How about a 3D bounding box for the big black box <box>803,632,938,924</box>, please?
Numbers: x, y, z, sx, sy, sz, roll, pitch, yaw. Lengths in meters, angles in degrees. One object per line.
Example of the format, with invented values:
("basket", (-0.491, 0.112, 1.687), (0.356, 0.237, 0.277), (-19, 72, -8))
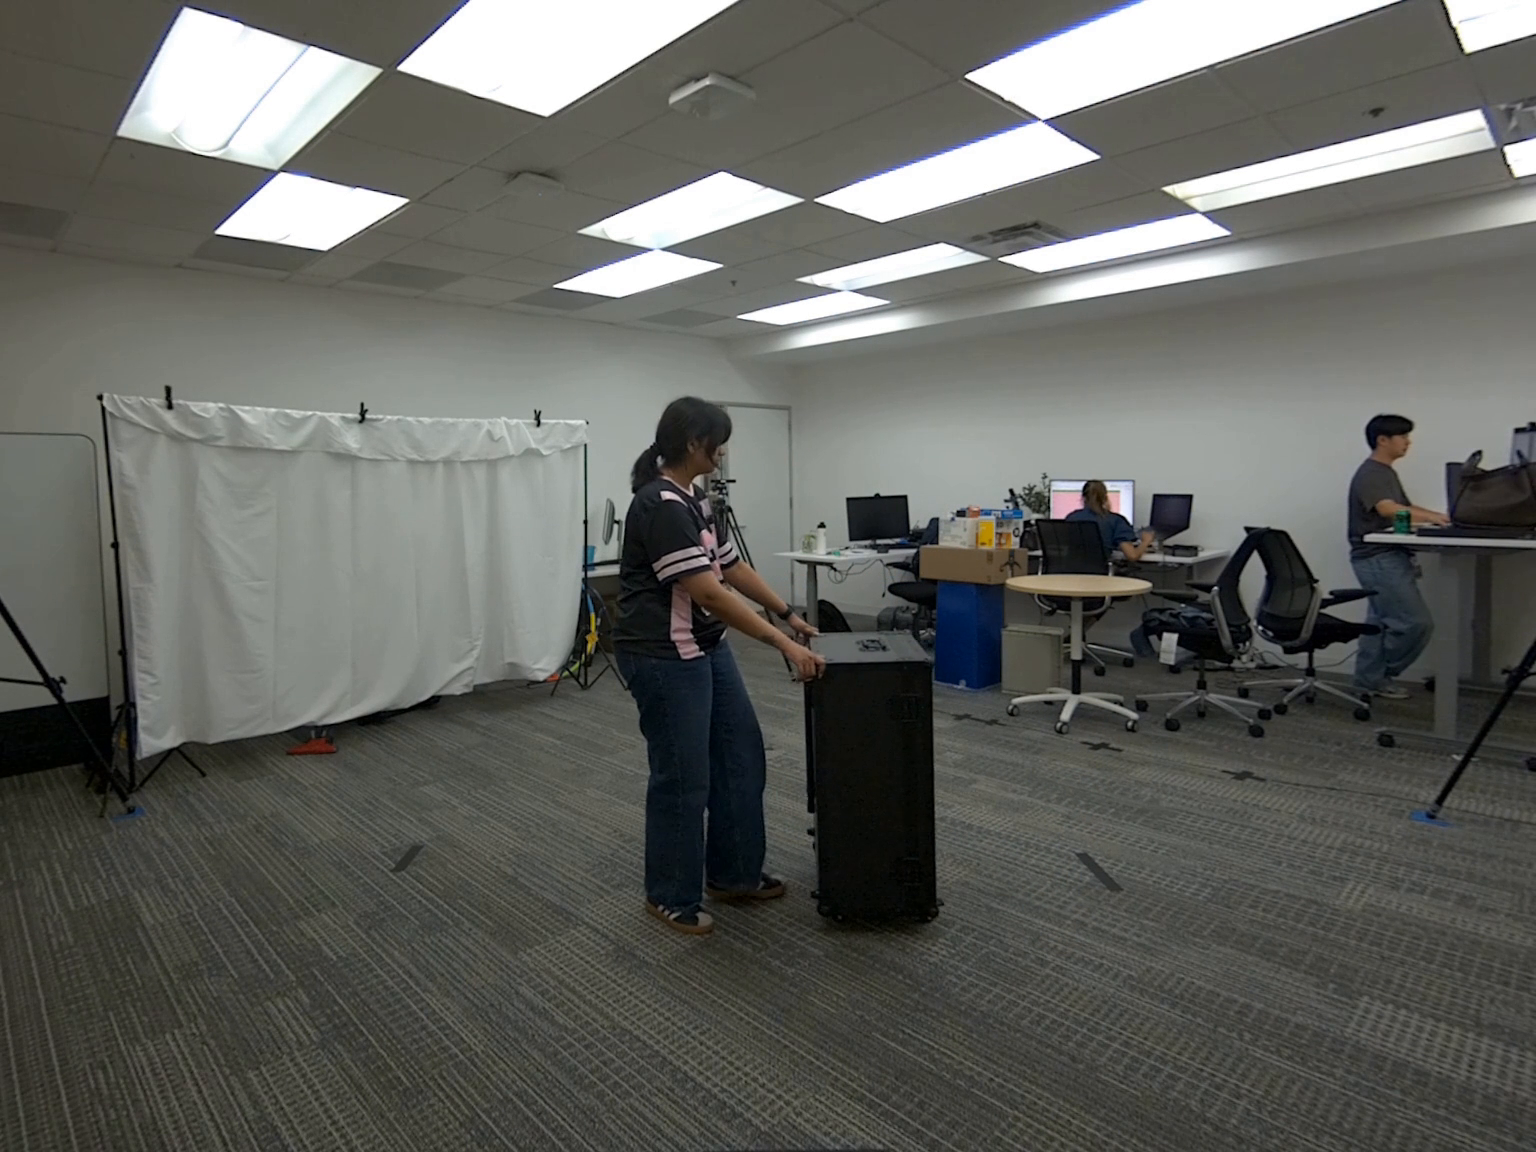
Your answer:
("big black box", (0.328, 0.652, 2.791), (0.386, 0.865, 0.524), (-2, 4, 2))
